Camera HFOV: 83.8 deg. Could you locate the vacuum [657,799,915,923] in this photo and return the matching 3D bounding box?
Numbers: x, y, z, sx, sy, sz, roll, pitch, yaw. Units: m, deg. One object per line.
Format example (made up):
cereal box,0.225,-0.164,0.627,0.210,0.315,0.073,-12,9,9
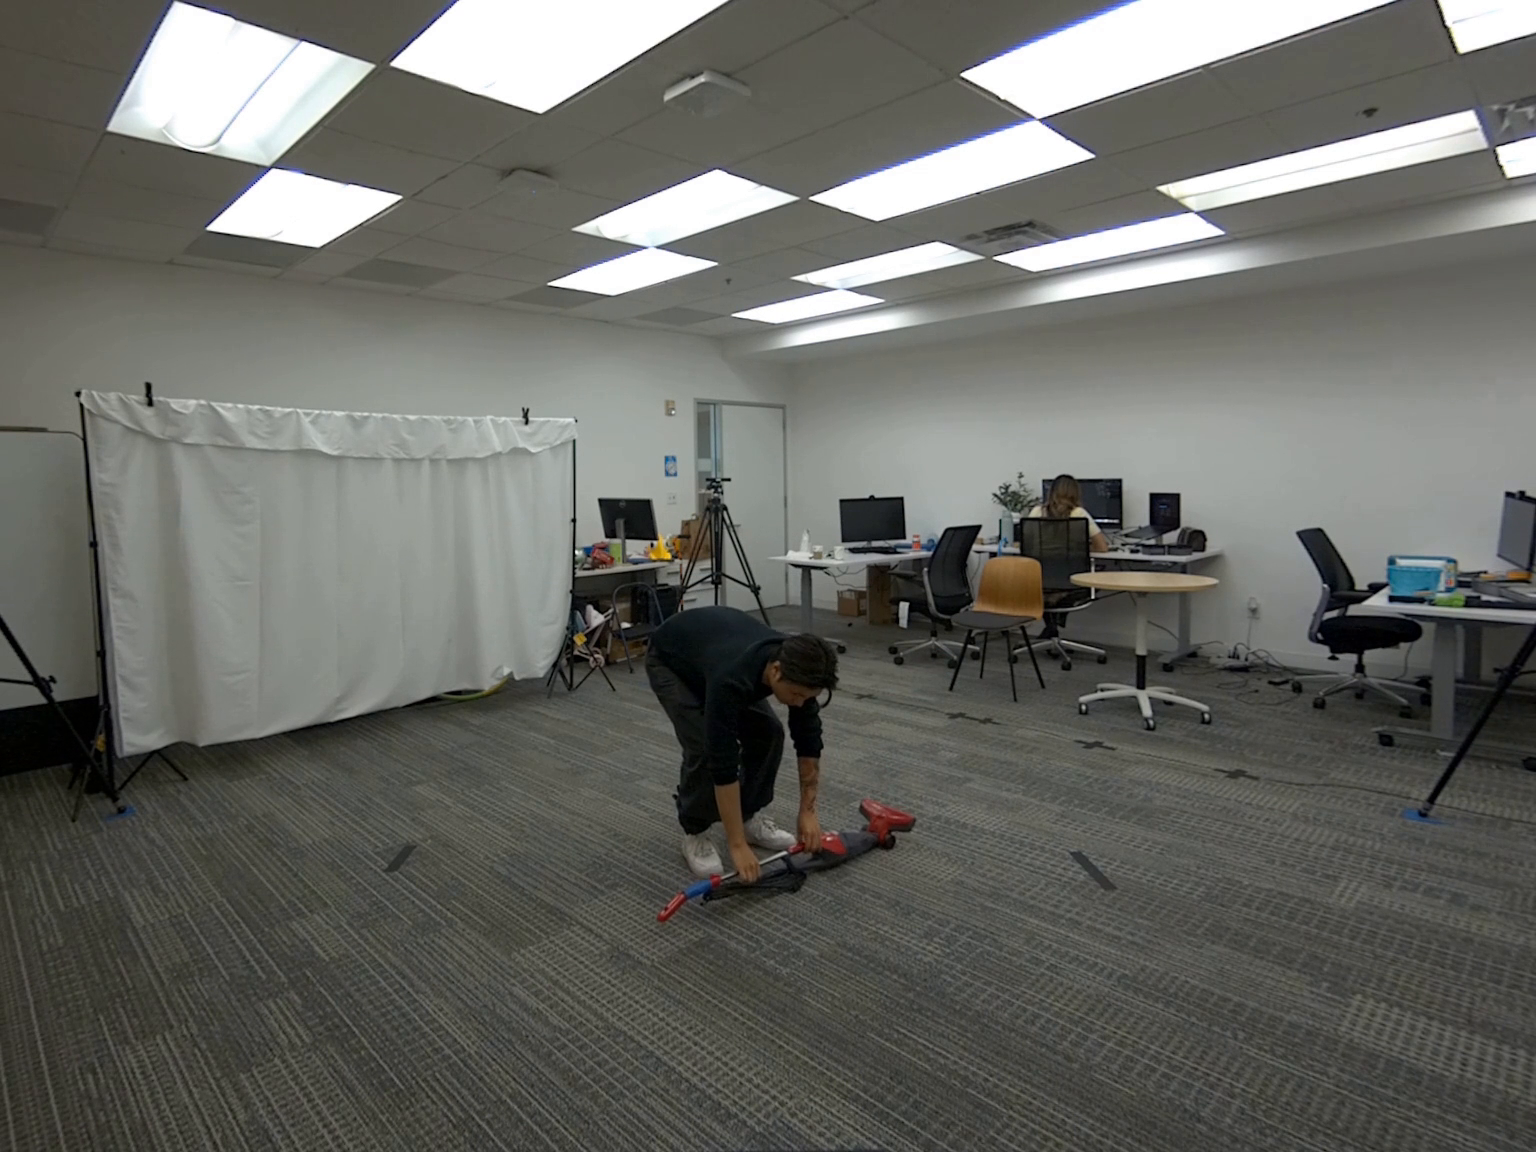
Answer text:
vacuum,0.065,0.994,2.917,1.022,0.143,0.260,-7,6,-40
